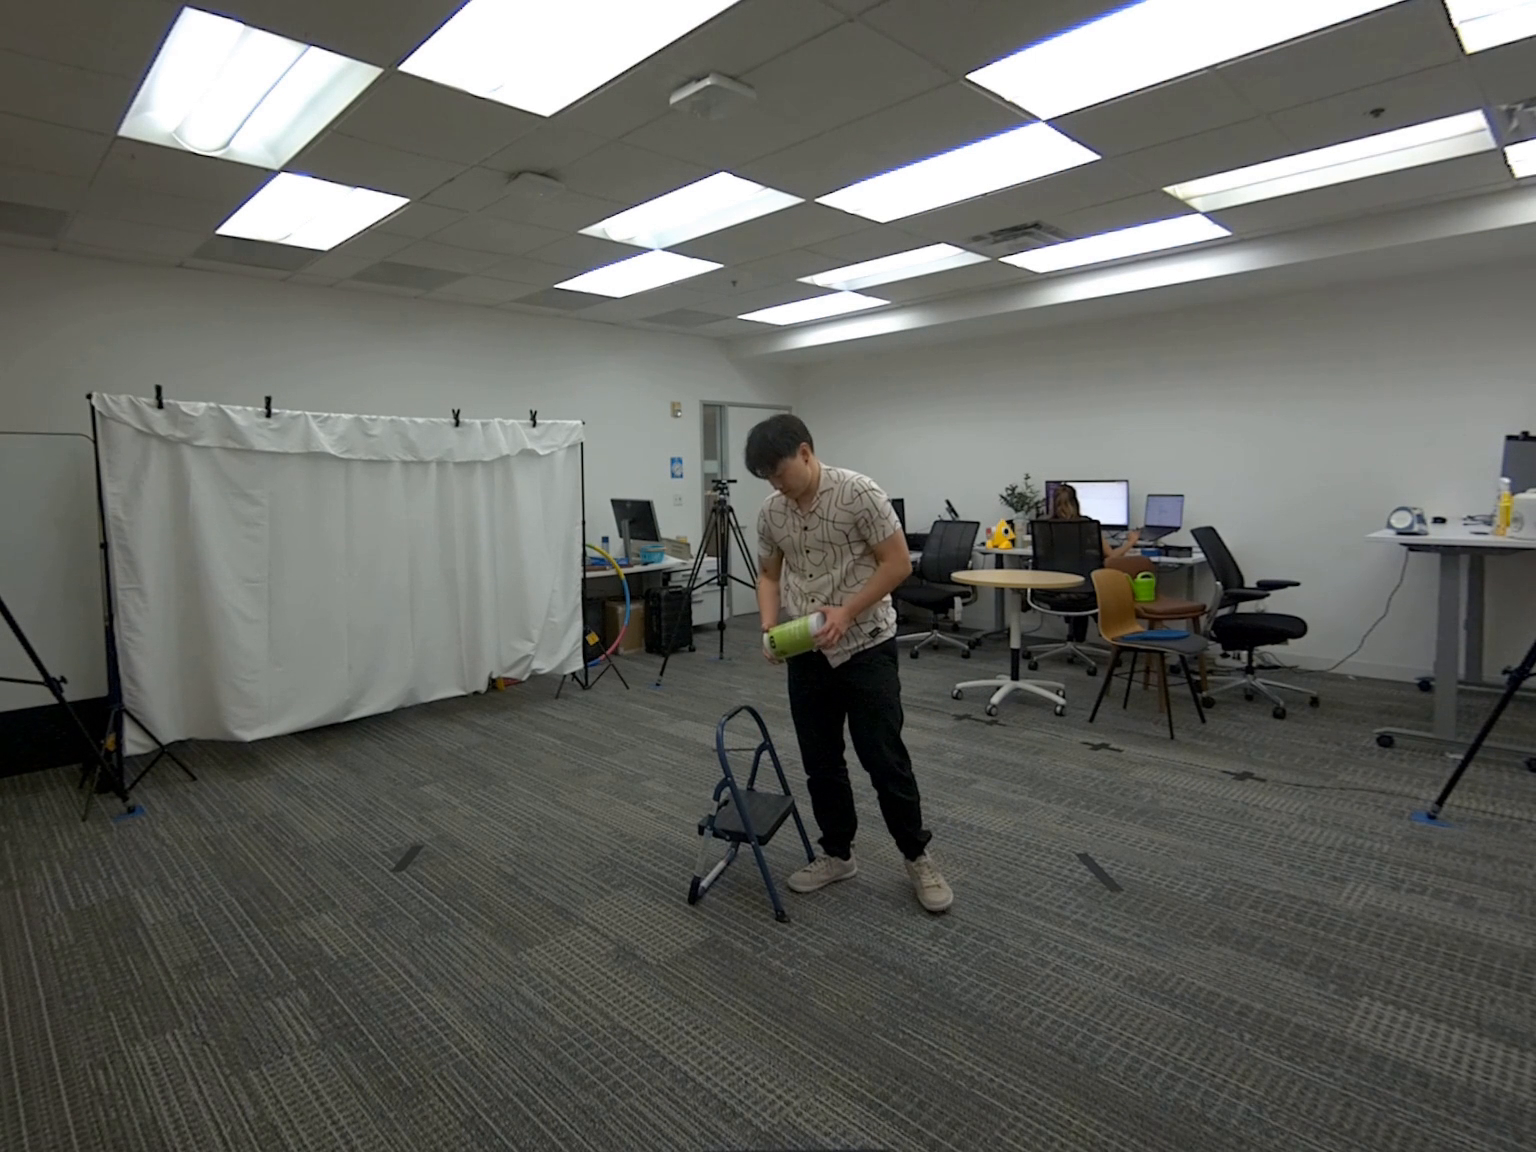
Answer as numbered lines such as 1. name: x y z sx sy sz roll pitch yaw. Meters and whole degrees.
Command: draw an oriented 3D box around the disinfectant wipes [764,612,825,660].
1. disinfectant wipes: 0.109 0.203 2.753 0.221 0.119 0.115 -23 -10 37
